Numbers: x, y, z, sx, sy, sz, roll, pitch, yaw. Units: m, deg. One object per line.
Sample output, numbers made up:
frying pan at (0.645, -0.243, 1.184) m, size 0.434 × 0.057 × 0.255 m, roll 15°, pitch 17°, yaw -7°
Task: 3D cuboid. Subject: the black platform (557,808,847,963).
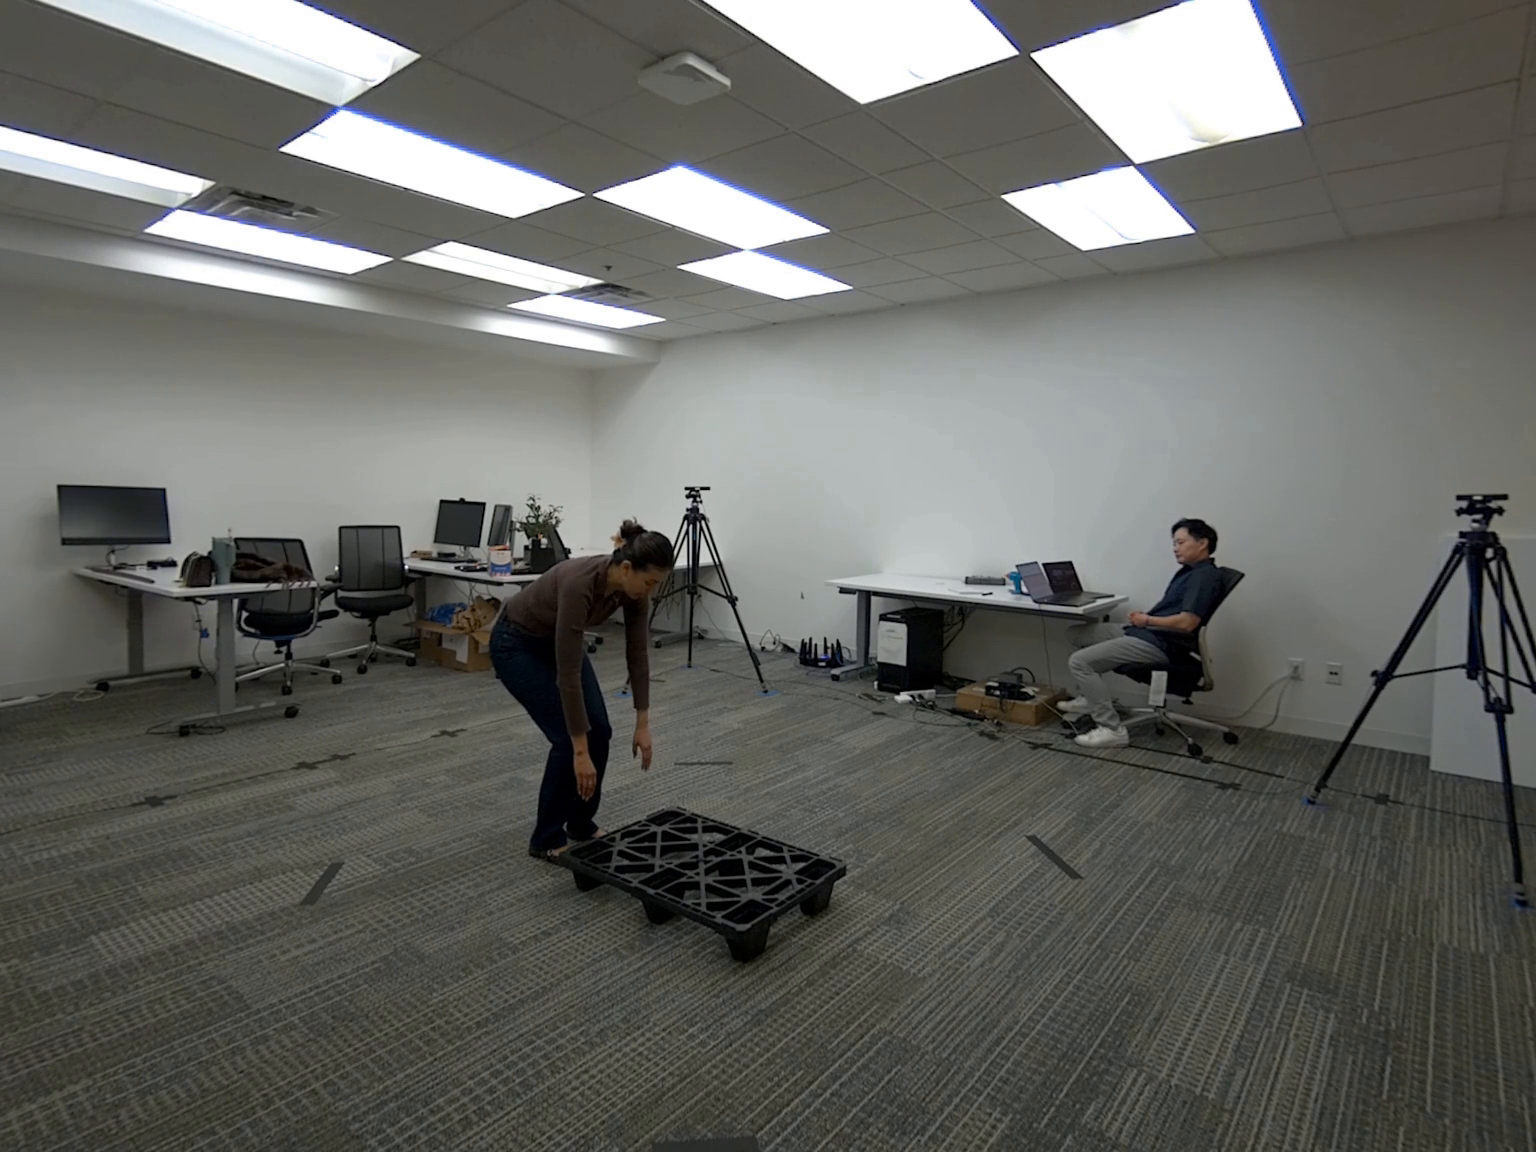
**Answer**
black platform at (-0.236, 1.021, 2.892) m, size 0.832 × 0.143 × 0.587 m, roll 5°, pitch 6°, yaw 37°
